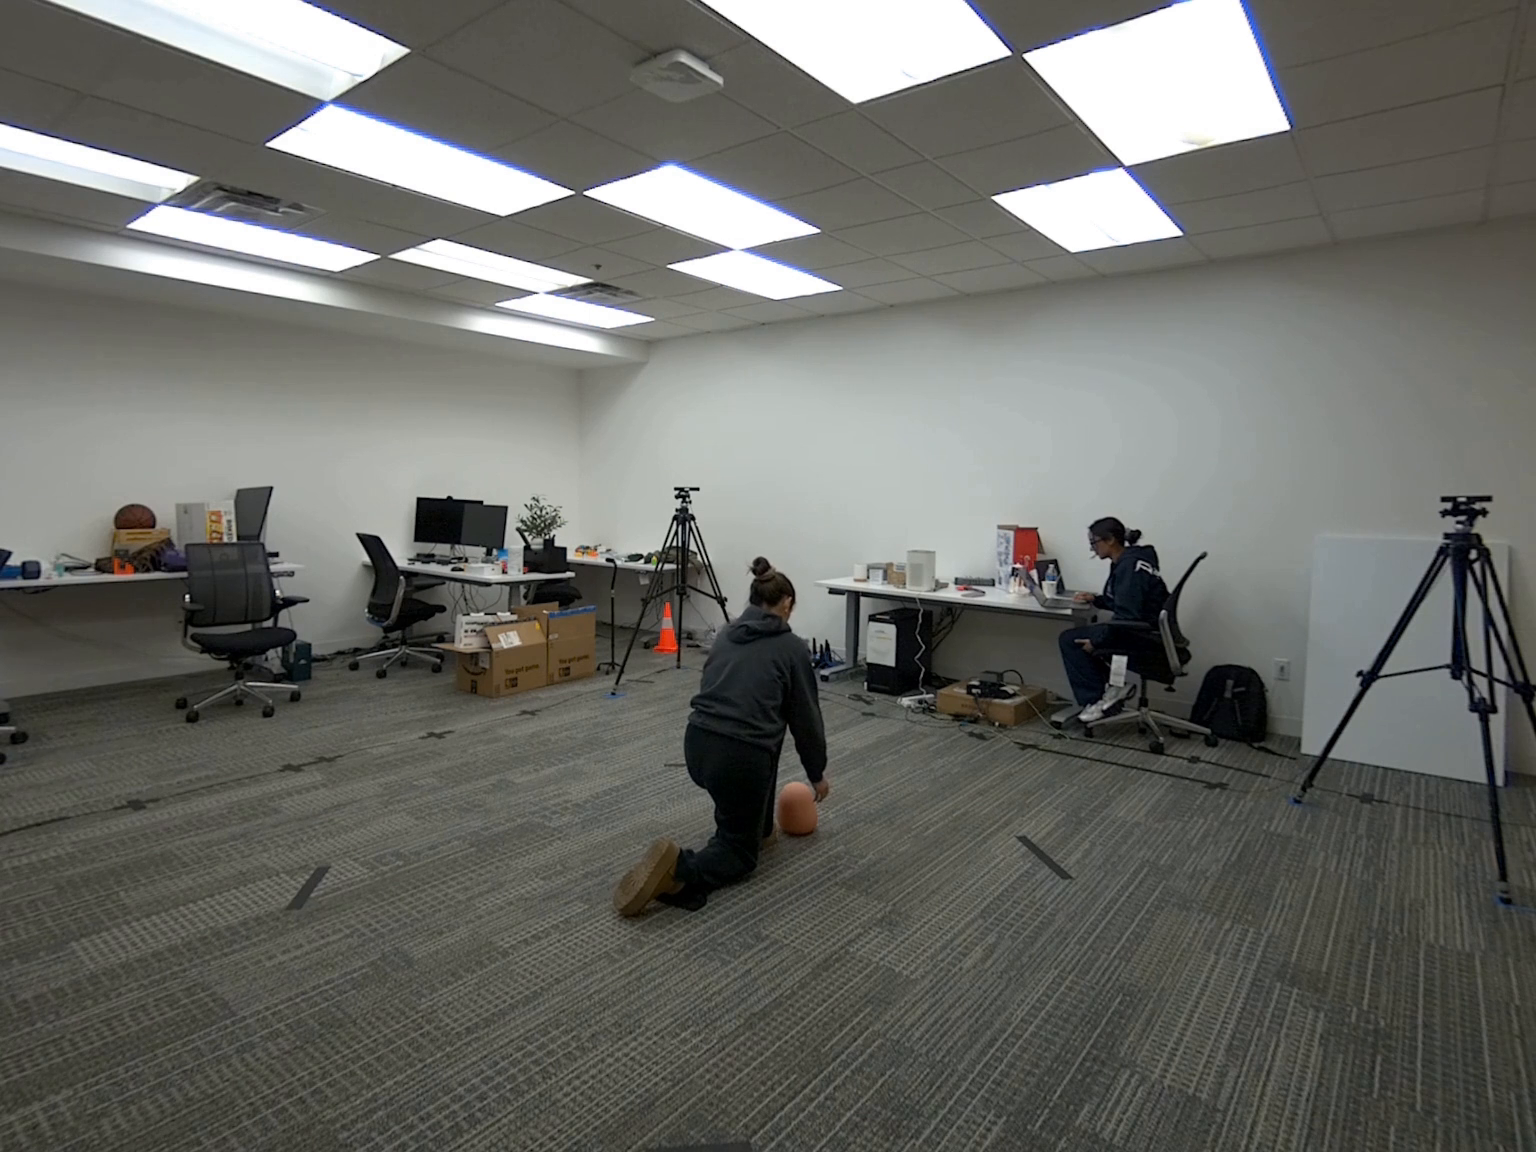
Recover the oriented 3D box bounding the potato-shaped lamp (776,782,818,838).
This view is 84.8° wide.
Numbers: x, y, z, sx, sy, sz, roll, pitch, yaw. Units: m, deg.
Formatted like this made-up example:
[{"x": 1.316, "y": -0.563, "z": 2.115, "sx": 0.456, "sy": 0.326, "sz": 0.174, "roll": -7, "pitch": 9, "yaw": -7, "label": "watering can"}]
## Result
[{"x": 0.118, "y": 0.935, "z": 3.468, "sx": 0.169, "sy": 0.196, "sz": 0.168, "roll": 1, "pitch": 10, "yaw": 27, "label": "potato-shaped lamp"}]
